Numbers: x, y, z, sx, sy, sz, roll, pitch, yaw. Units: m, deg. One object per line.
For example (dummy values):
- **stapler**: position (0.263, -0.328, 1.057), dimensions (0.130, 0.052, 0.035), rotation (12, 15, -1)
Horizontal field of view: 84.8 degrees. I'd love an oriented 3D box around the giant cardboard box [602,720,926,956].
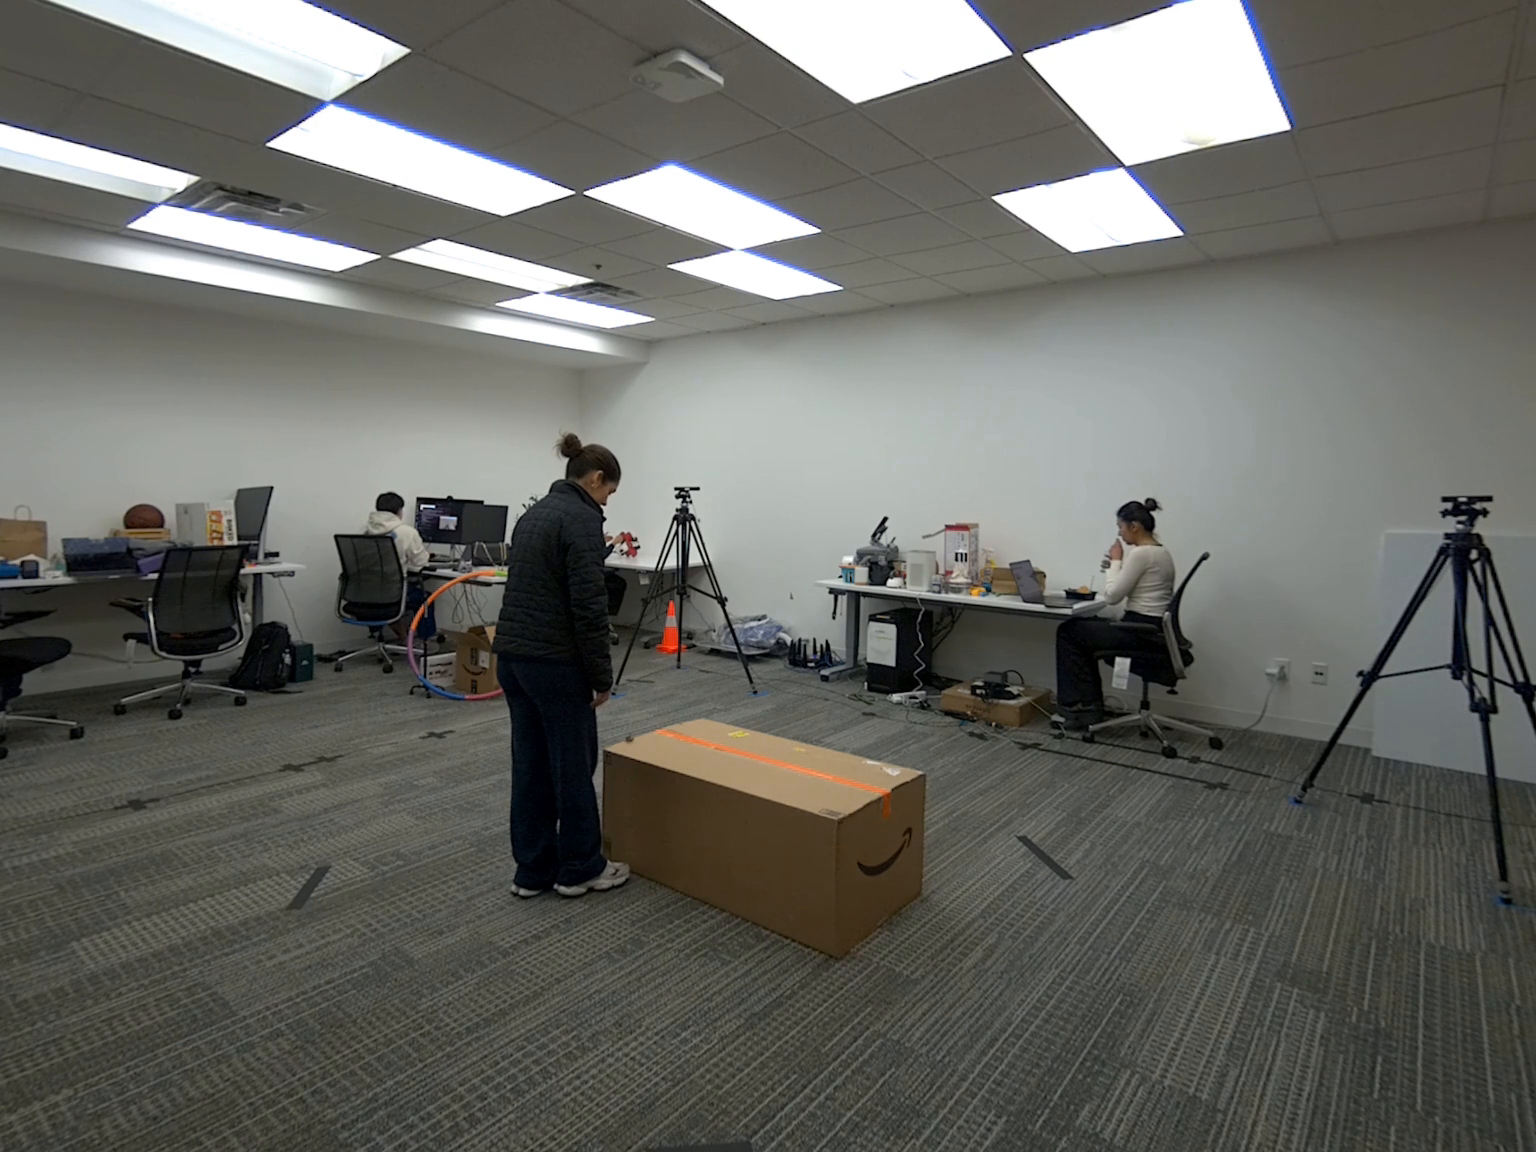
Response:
- **giant cardboard box**: position (-0.024, 0.865, 3.060), dimensions (1.062, 0.445, 0.567), rotation (6, 8, 38)
